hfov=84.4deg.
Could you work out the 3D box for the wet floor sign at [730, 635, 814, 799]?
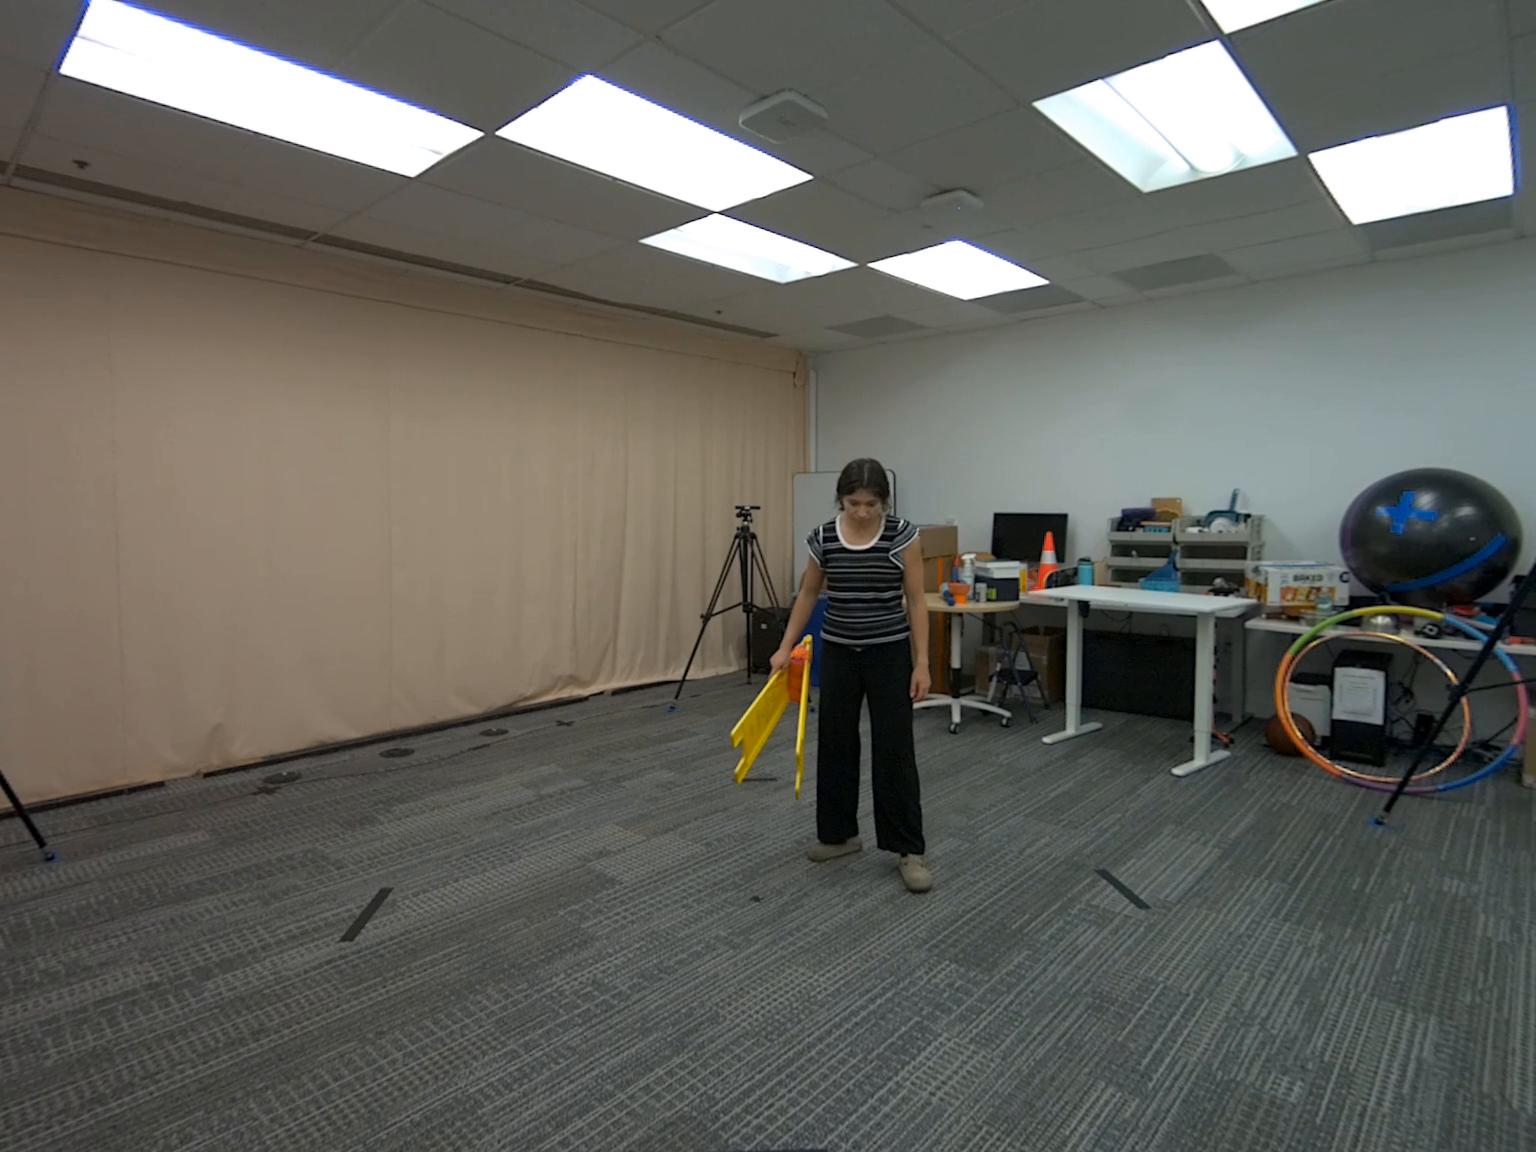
[{"bbox_3d":[0.089,0.514,3.332,0.295,0.277,0.647,10,40,13],"label":"wet floor sign"}]
